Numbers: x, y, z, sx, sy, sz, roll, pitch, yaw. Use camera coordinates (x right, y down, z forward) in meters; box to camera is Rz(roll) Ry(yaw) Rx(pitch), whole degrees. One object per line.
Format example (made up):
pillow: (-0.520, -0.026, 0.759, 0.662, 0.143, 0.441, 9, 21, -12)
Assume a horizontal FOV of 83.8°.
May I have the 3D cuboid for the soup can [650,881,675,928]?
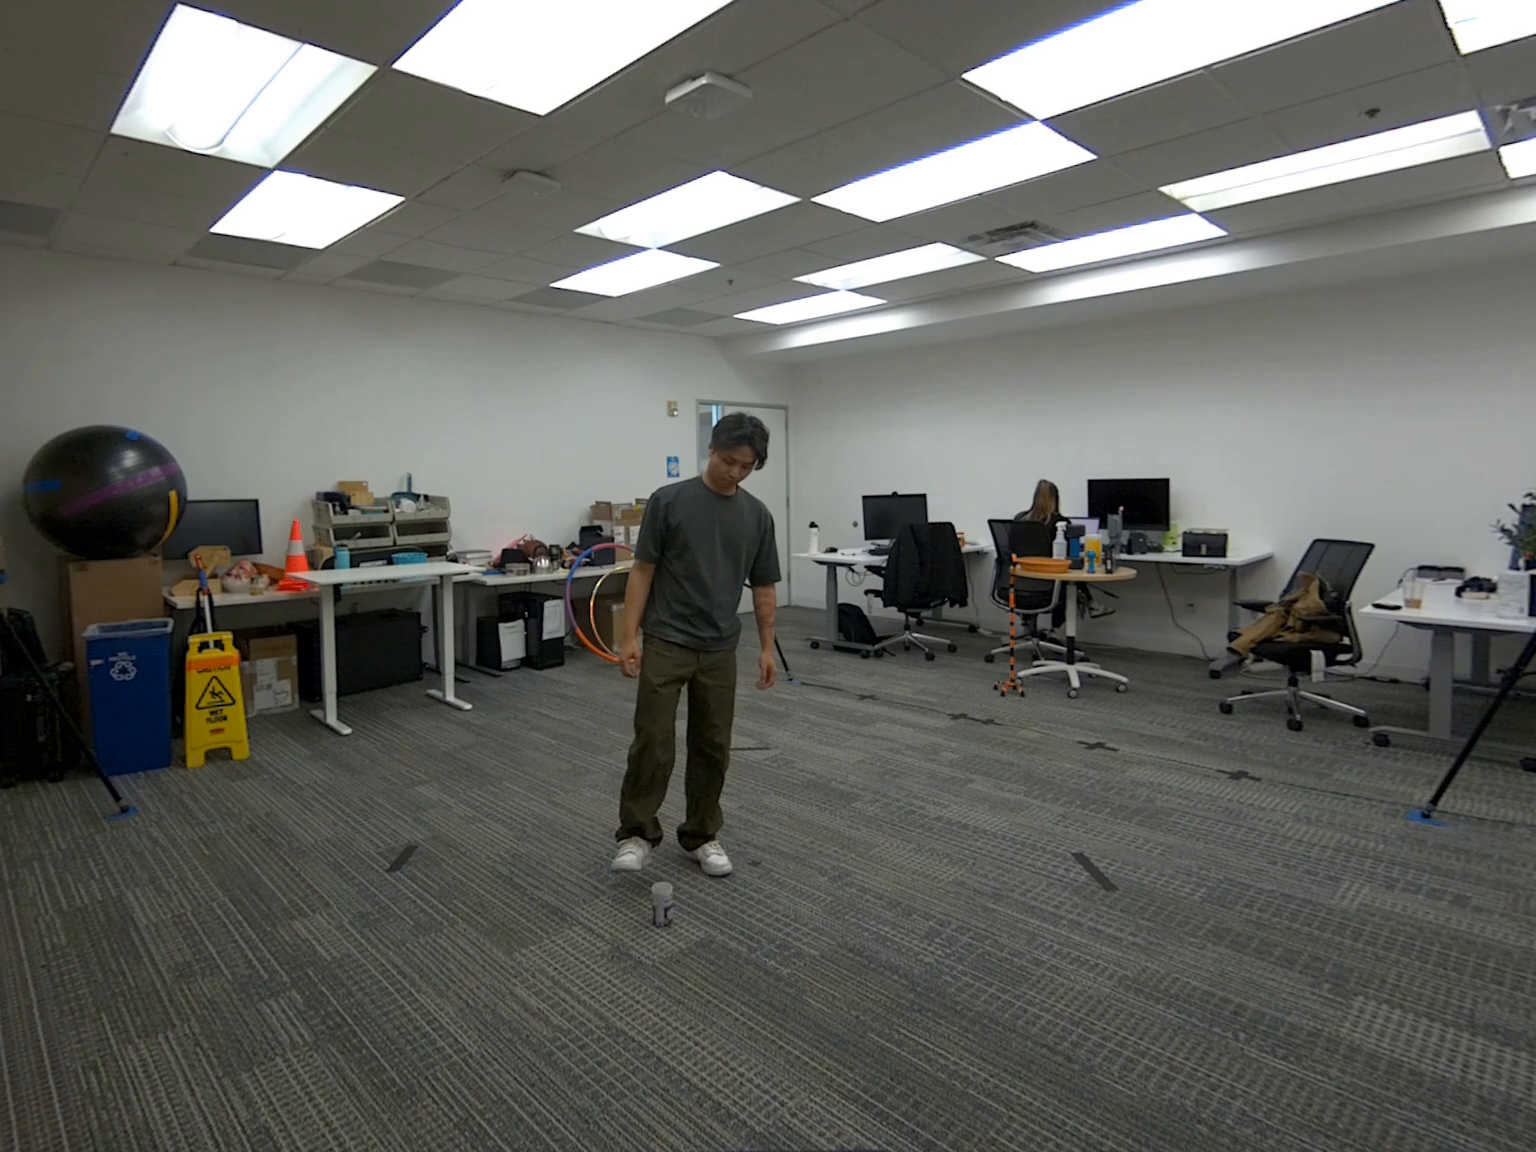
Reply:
soup can: (-0.331, 1.041, 2.696, 0.067, 0.121, 0.067, -2, 6, -1)
